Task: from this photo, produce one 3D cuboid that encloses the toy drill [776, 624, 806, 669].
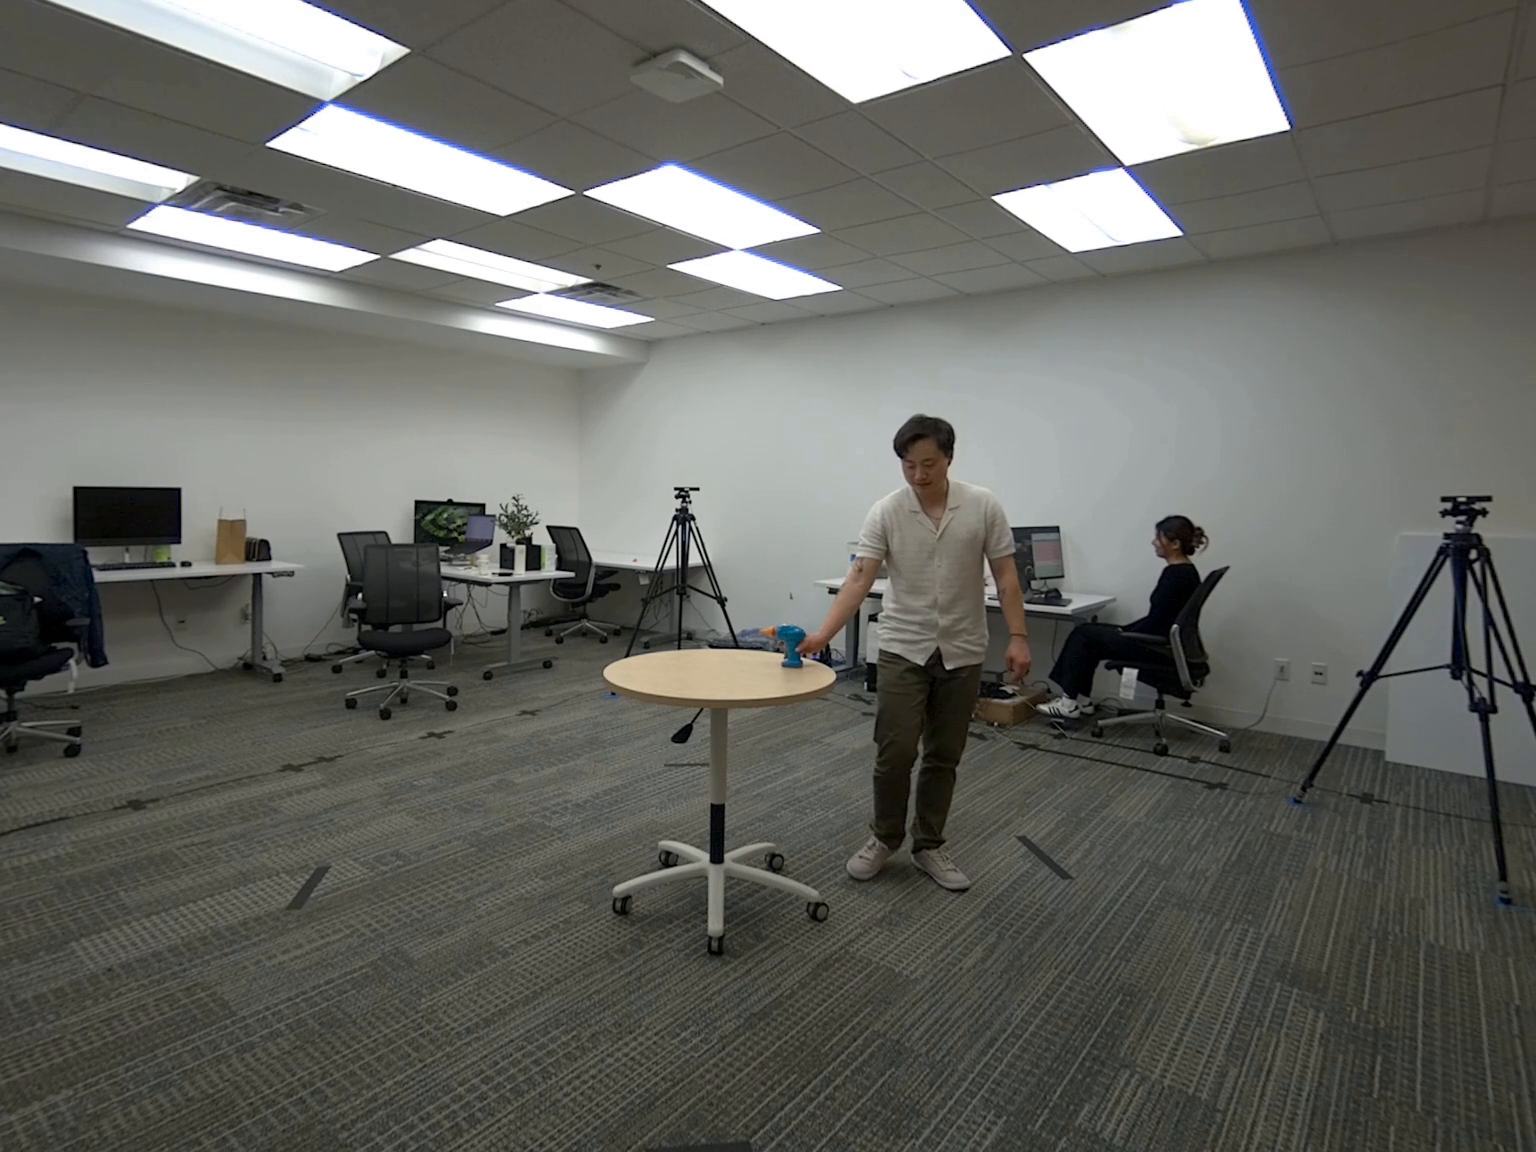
[{"bbox_3d":[0.039,0.230,2.911,0.173,0.145,0.060,2,3,21],"label":"toy drill"}]
